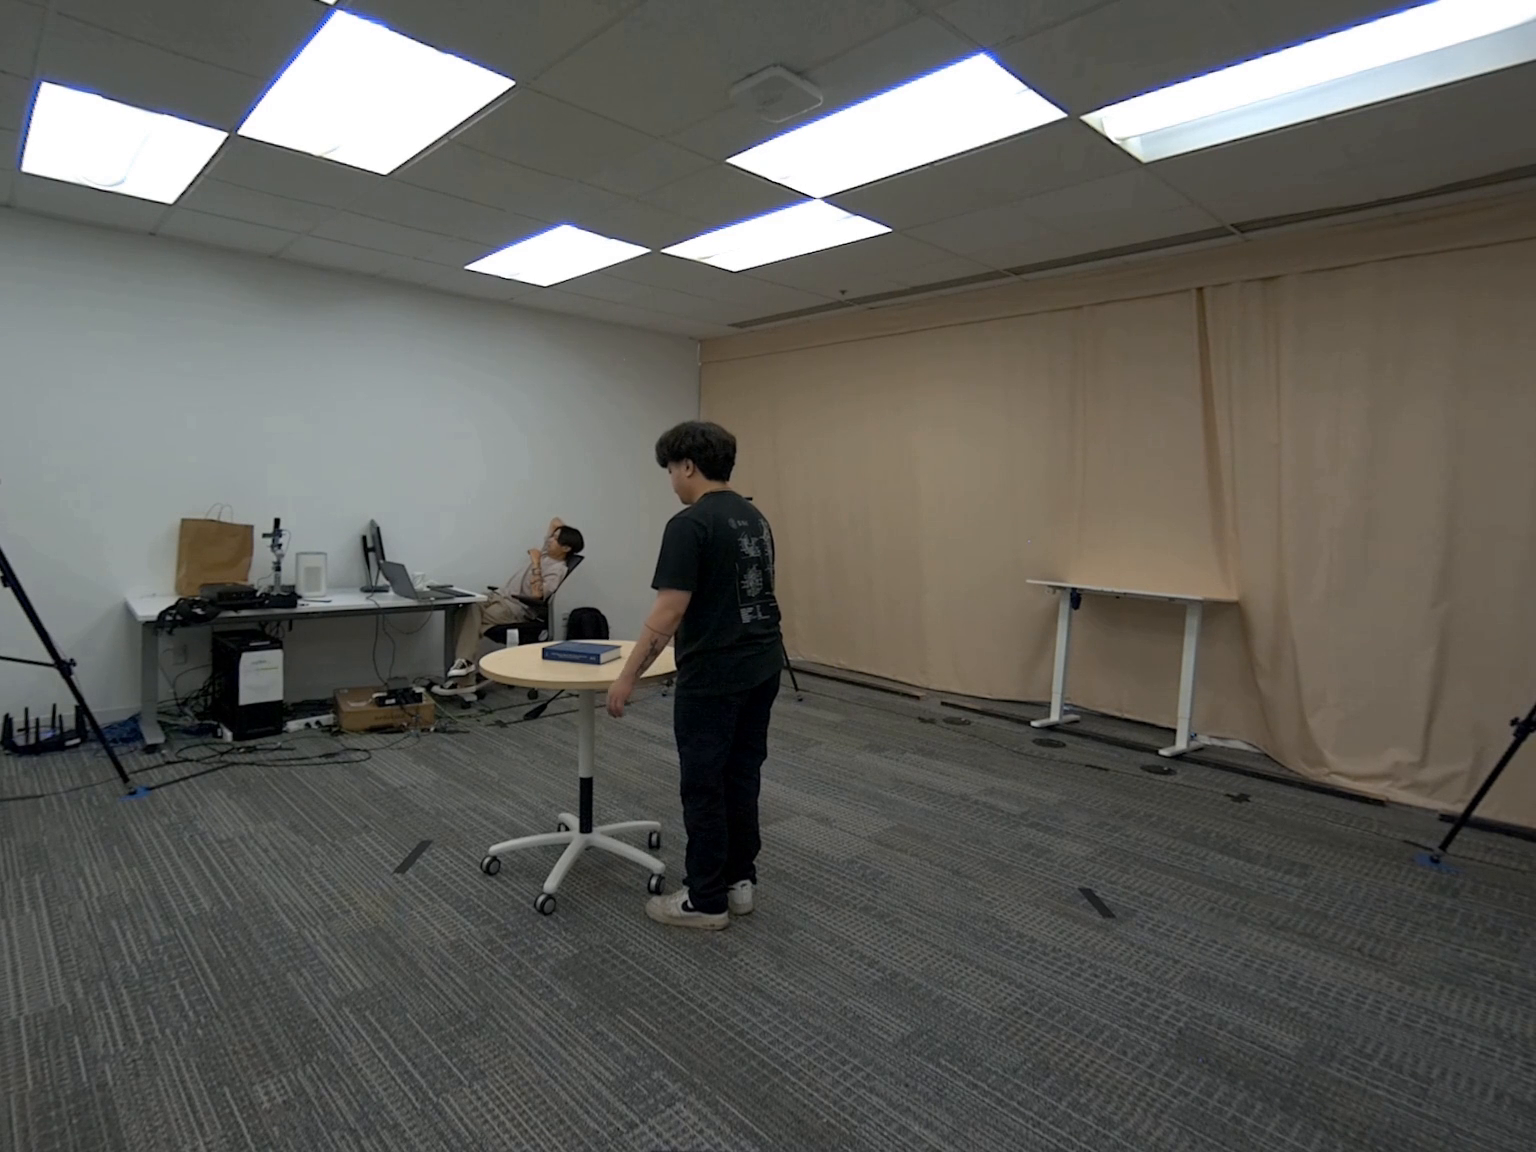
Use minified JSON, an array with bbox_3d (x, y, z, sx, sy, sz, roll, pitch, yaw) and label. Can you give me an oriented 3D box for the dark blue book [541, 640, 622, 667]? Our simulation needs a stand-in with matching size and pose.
[{"bbox_3d":[-0.693,0.284,3.098,0.249,0.045,0.161,3,5,19],"label":"dark blue book"}]
